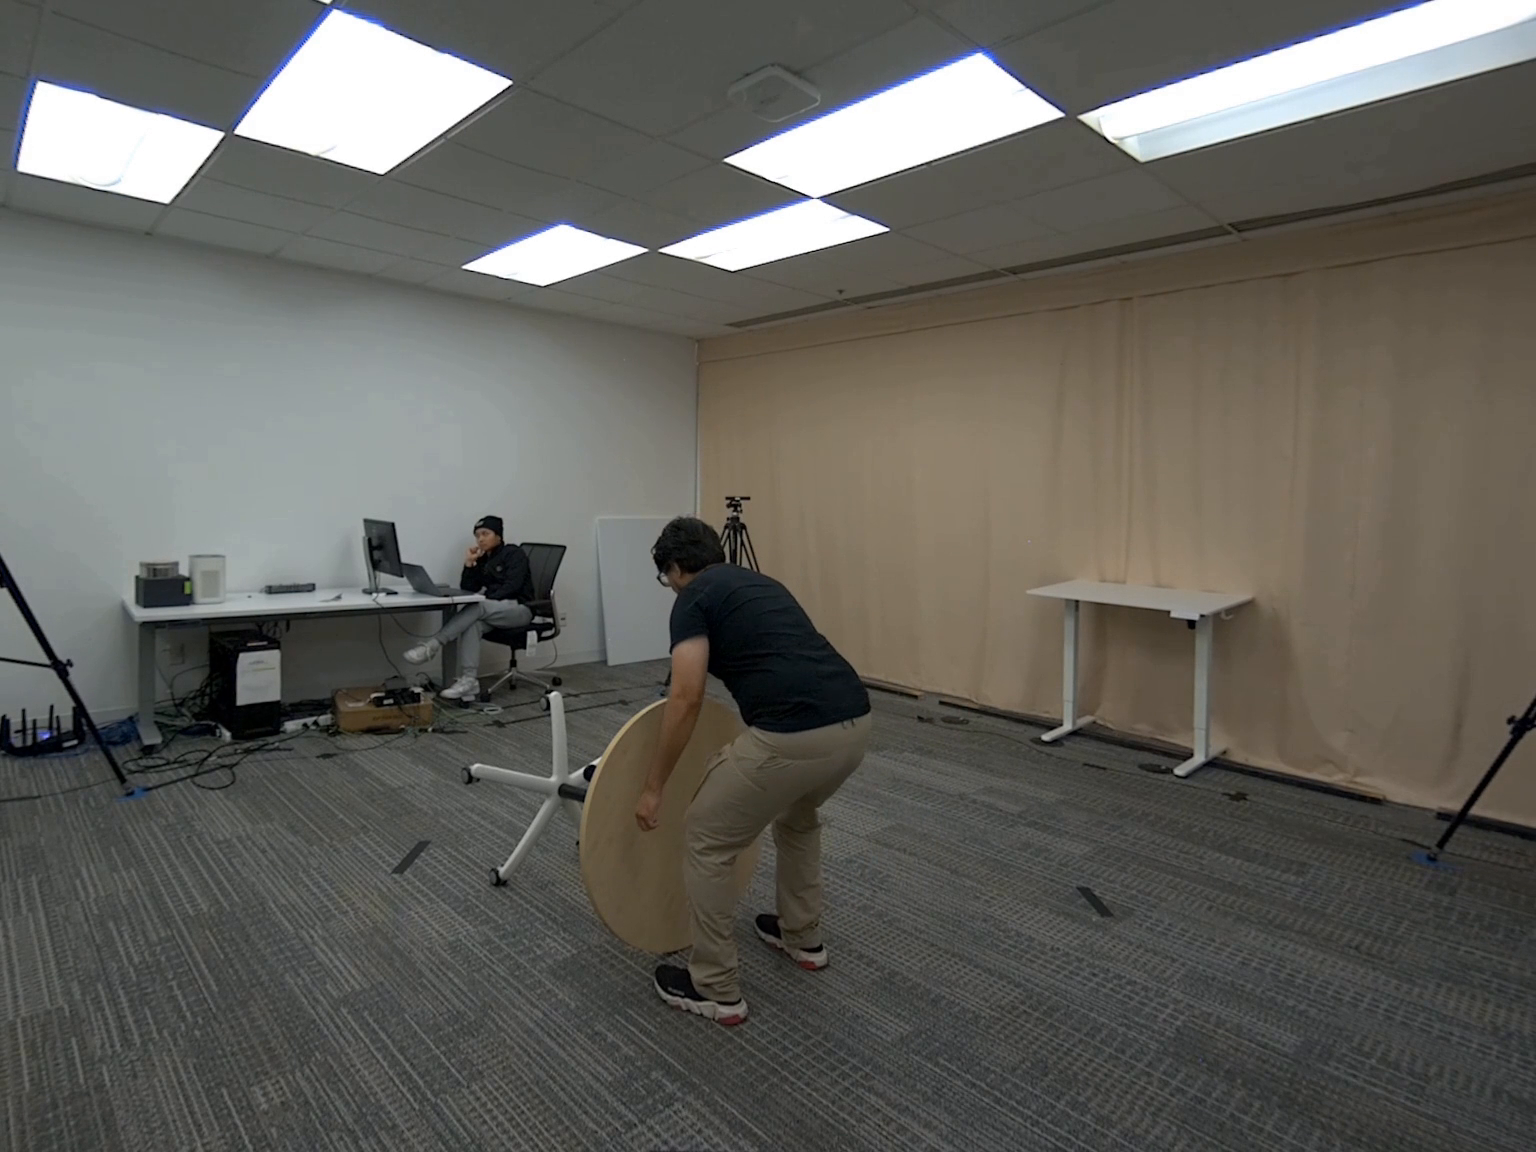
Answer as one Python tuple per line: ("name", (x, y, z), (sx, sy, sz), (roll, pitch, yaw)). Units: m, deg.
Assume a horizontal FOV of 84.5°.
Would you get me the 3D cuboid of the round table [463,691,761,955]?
("round table", (-0.556, 0.782, 2.903), (0.803, 0.786, 0.767), (-5, -1, 43))
